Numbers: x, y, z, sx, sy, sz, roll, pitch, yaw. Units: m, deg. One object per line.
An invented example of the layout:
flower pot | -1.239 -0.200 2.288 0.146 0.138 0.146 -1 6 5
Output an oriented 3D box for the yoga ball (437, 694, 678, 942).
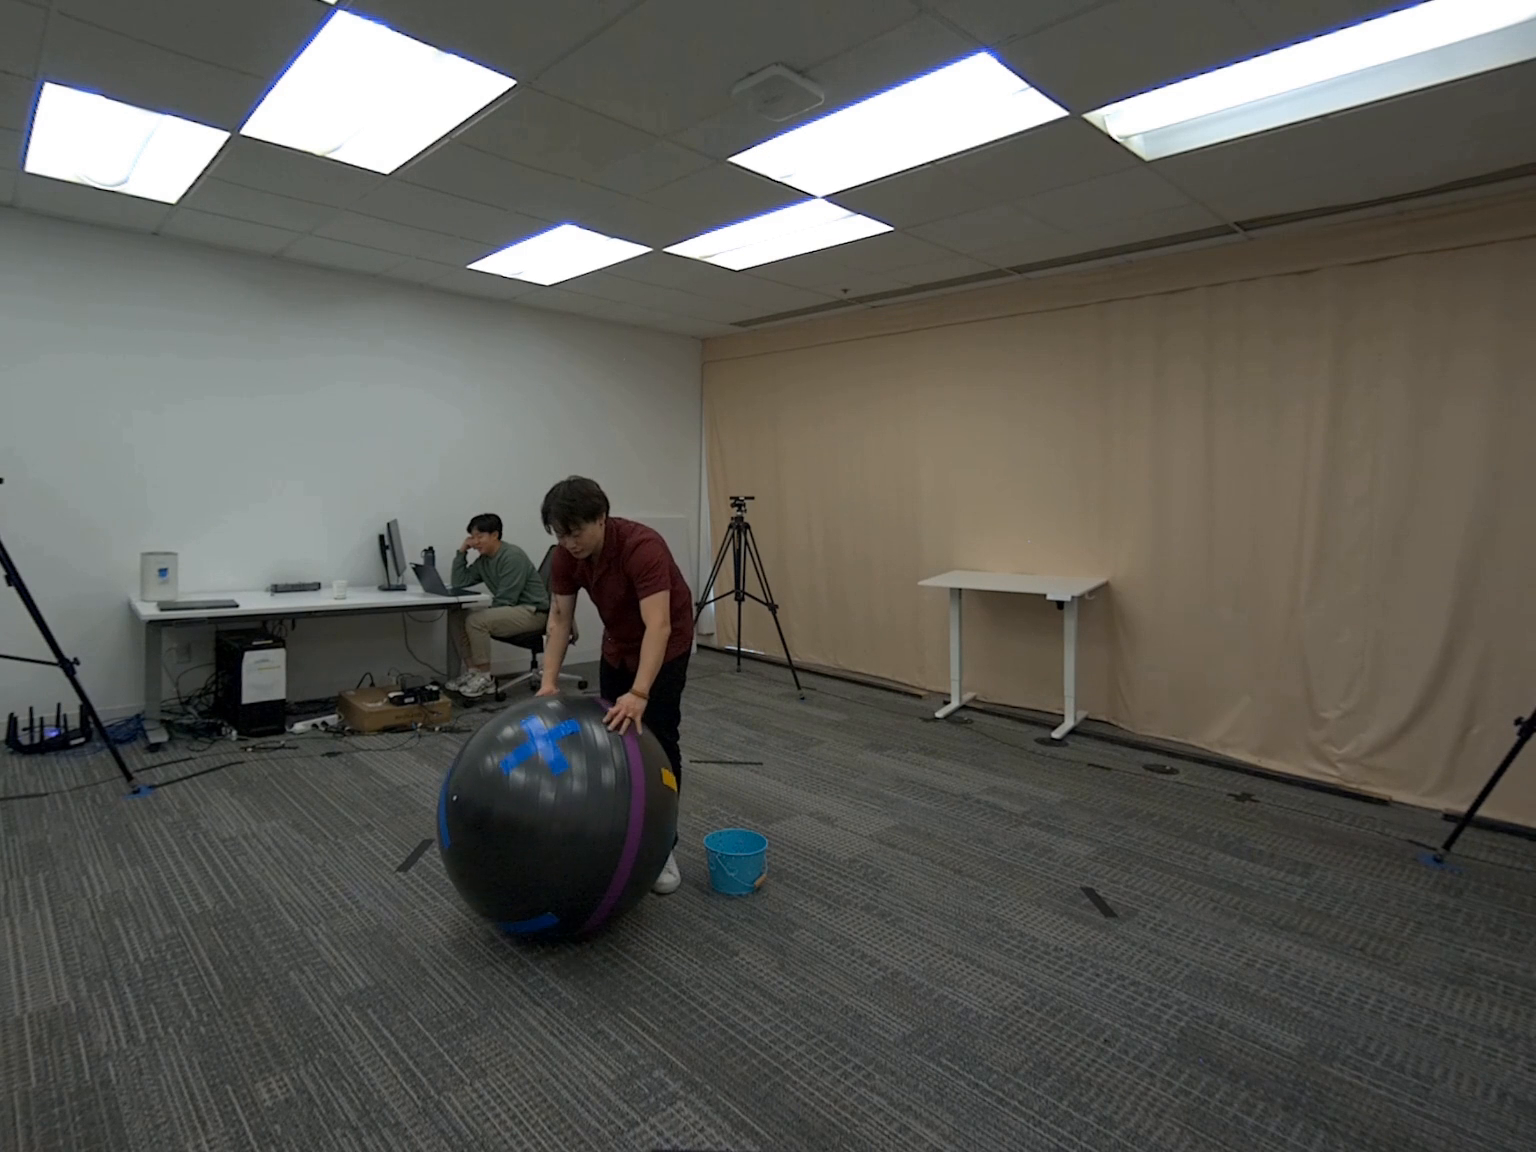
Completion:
yoga ball | -0.679 0.765 2.717 0.757 0.756 0.761 1 4 -1
